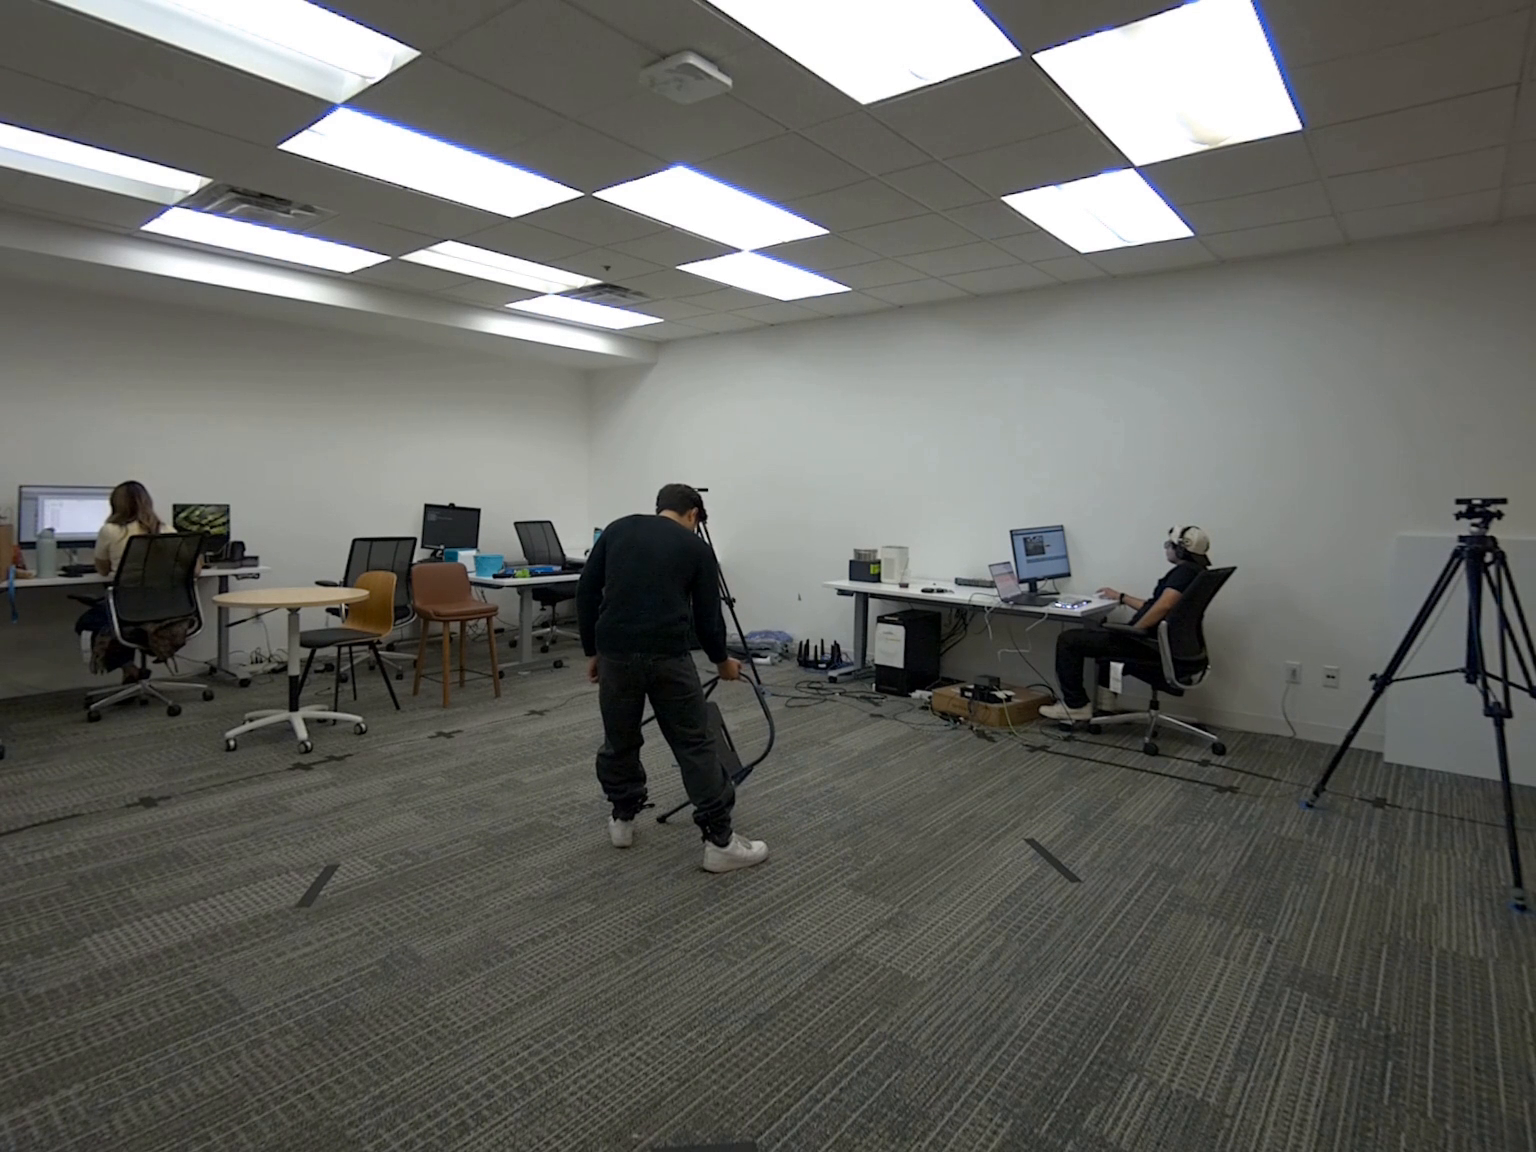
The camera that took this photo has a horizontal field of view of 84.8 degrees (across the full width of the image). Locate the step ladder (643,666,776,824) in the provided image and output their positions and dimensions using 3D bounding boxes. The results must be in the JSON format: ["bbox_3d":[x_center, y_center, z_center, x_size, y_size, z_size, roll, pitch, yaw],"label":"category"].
[{"bbox_3d":[-0.254,0.673,3.558,0.338,0.444,0.606,-1,-34,-42],"label":"step ladder"}]
